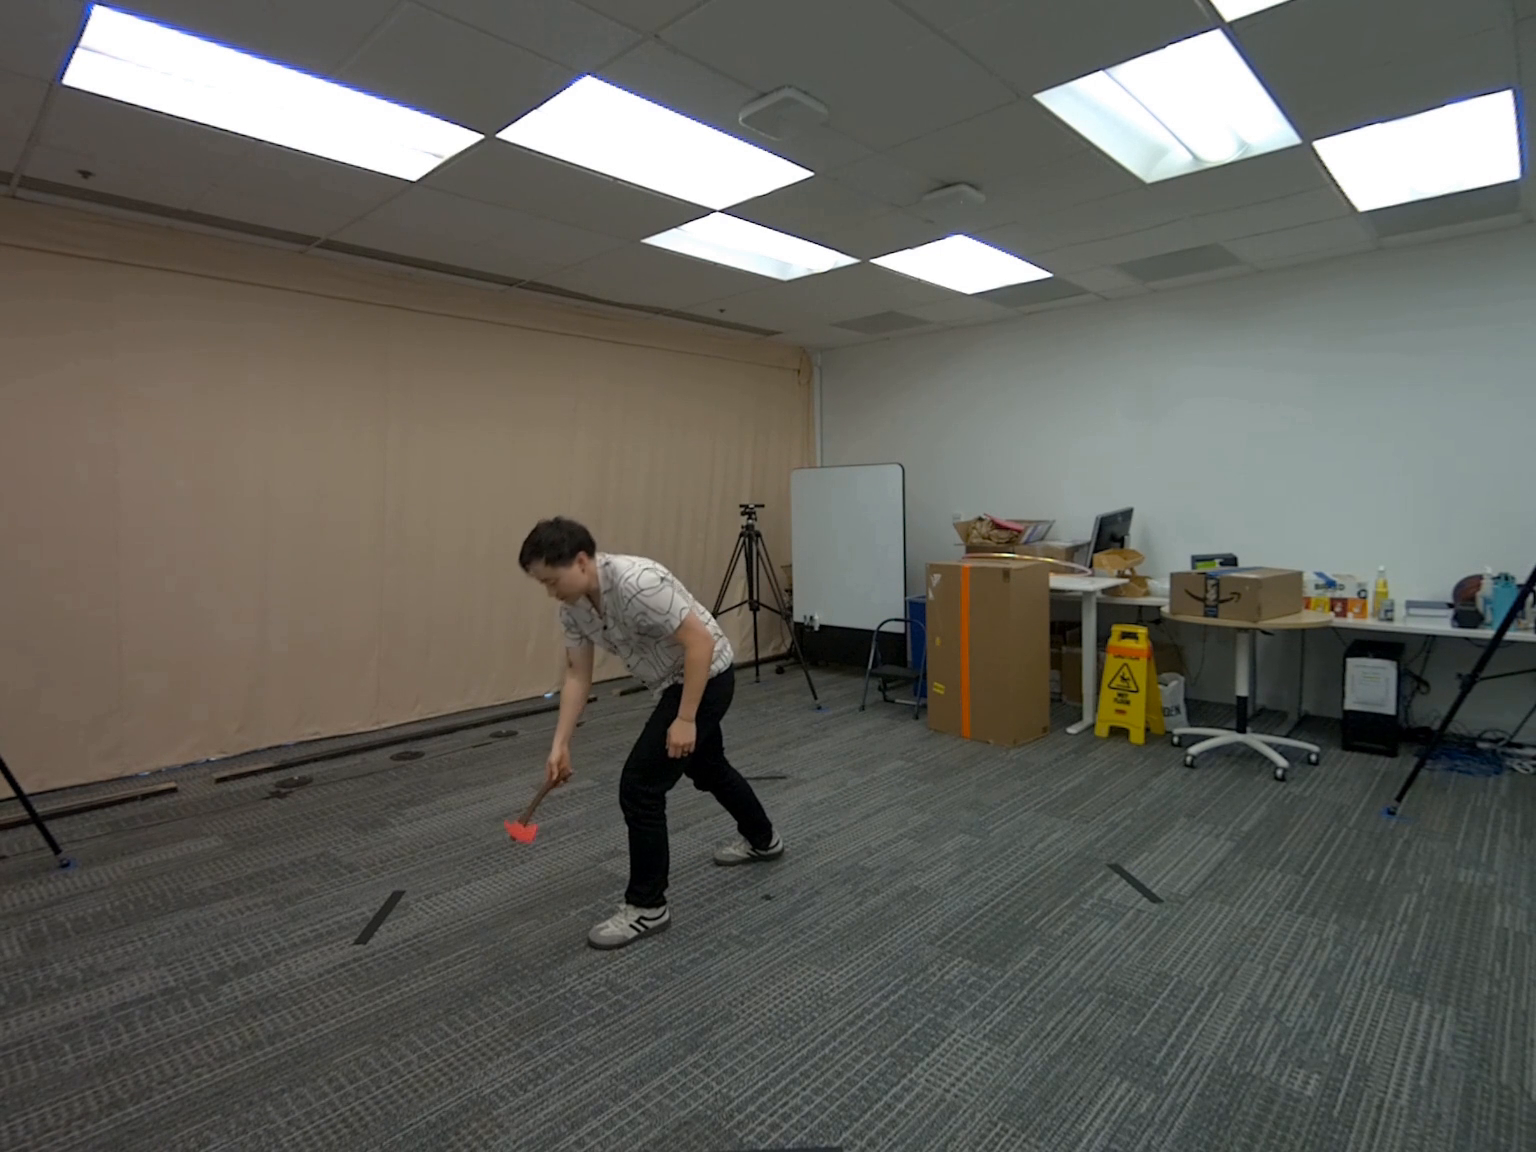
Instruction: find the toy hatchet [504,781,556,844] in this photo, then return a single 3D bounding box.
[{"bbox_3d":[-0.720,0.740,2.698,0.136,0.270,0.028,42,-5,43],"label":"toy hatchet"}]
